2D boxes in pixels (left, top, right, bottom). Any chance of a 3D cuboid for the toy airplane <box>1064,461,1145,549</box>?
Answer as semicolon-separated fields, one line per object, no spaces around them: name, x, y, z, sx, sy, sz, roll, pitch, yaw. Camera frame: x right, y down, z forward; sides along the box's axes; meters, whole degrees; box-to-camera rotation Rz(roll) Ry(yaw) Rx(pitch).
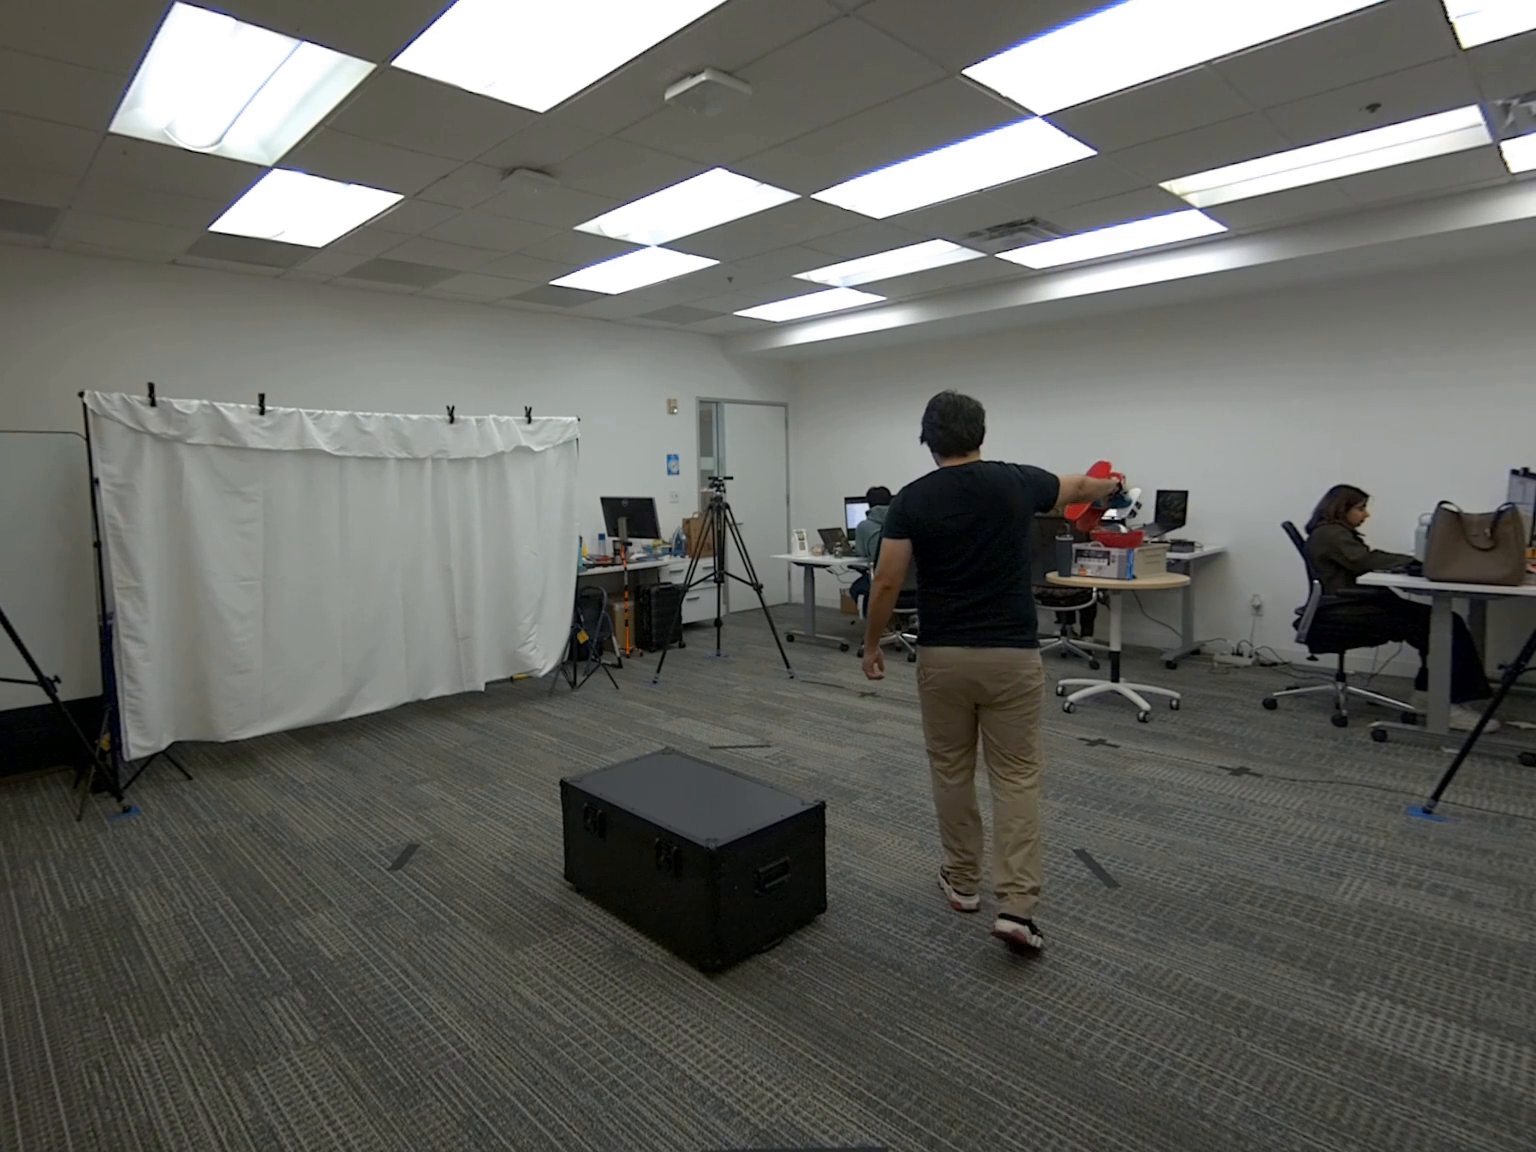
toy airplane;1.231;-0.290;3.072;0.154;0.254;0.261;32;-34;-15
